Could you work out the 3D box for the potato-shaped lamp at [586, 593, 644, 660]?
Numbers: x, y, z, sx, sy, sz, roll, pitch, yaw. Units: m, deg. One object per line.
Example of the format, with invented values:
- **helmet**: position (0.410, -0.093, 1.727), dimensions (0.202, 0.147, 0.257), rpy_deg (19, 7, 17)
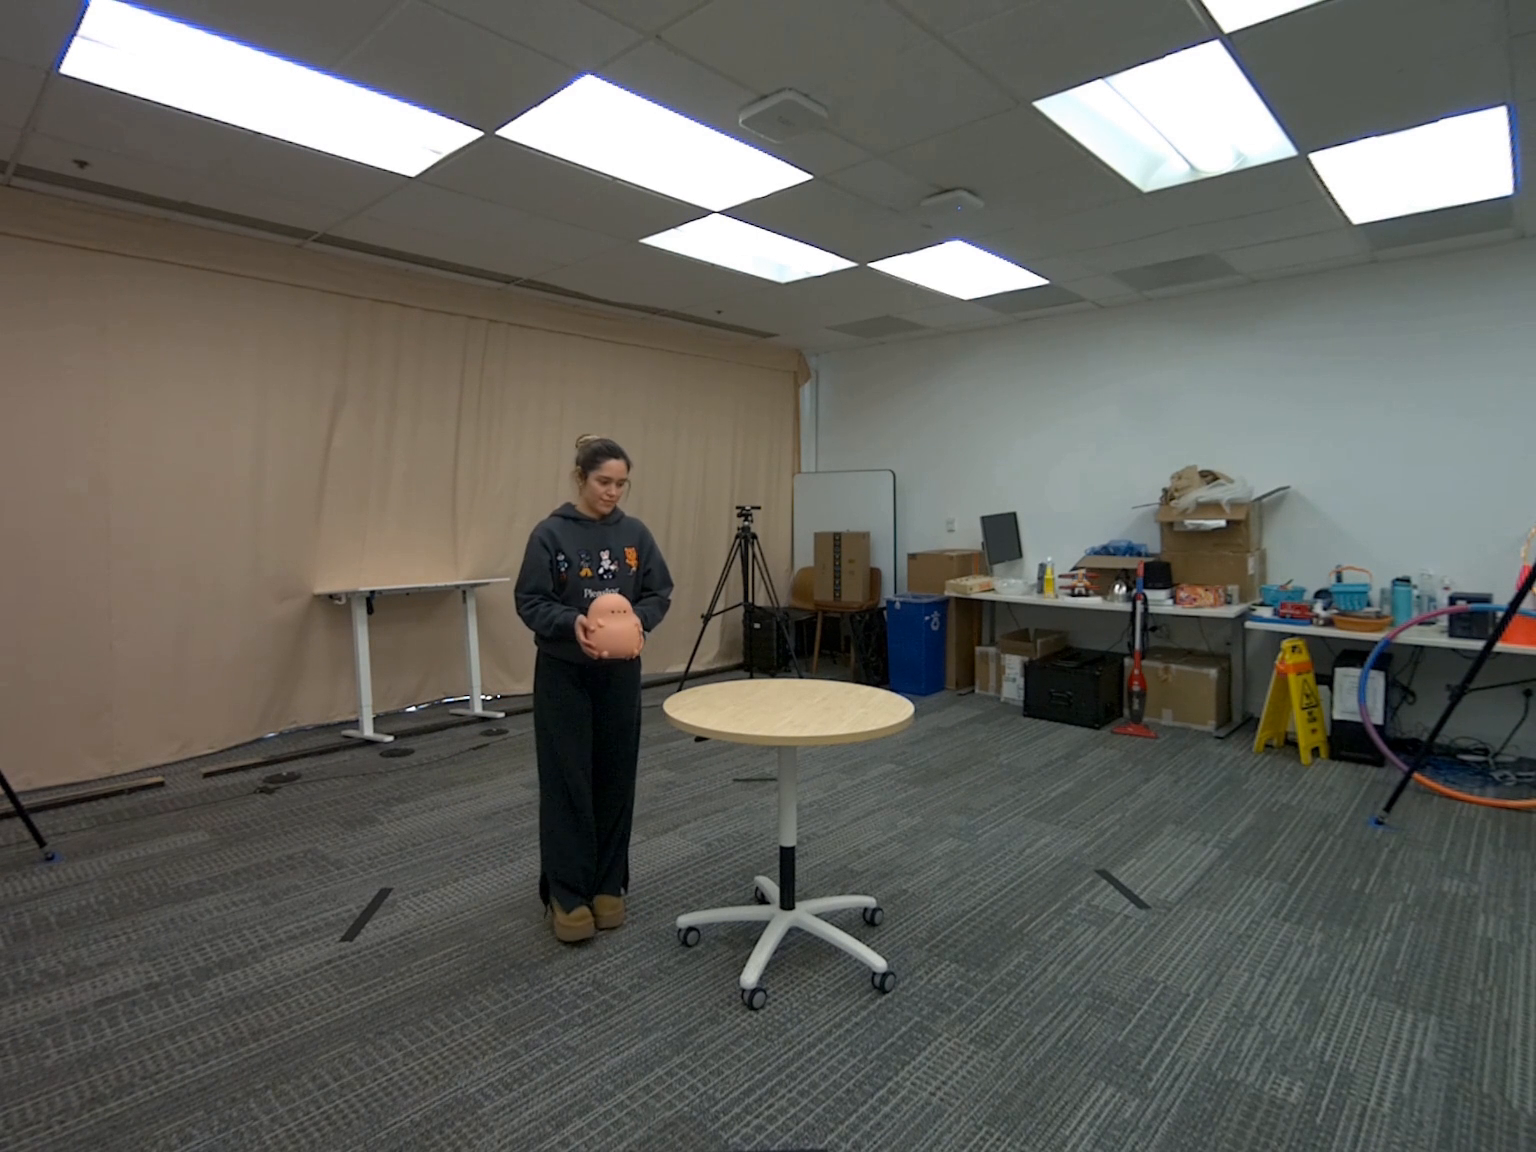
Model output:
- **potato-shaped lamp**: position (-0.480, 0.157, 2.628), dimensions (0.160, 0.198, 0.175), rpy_deg (-1, -2, -27)
